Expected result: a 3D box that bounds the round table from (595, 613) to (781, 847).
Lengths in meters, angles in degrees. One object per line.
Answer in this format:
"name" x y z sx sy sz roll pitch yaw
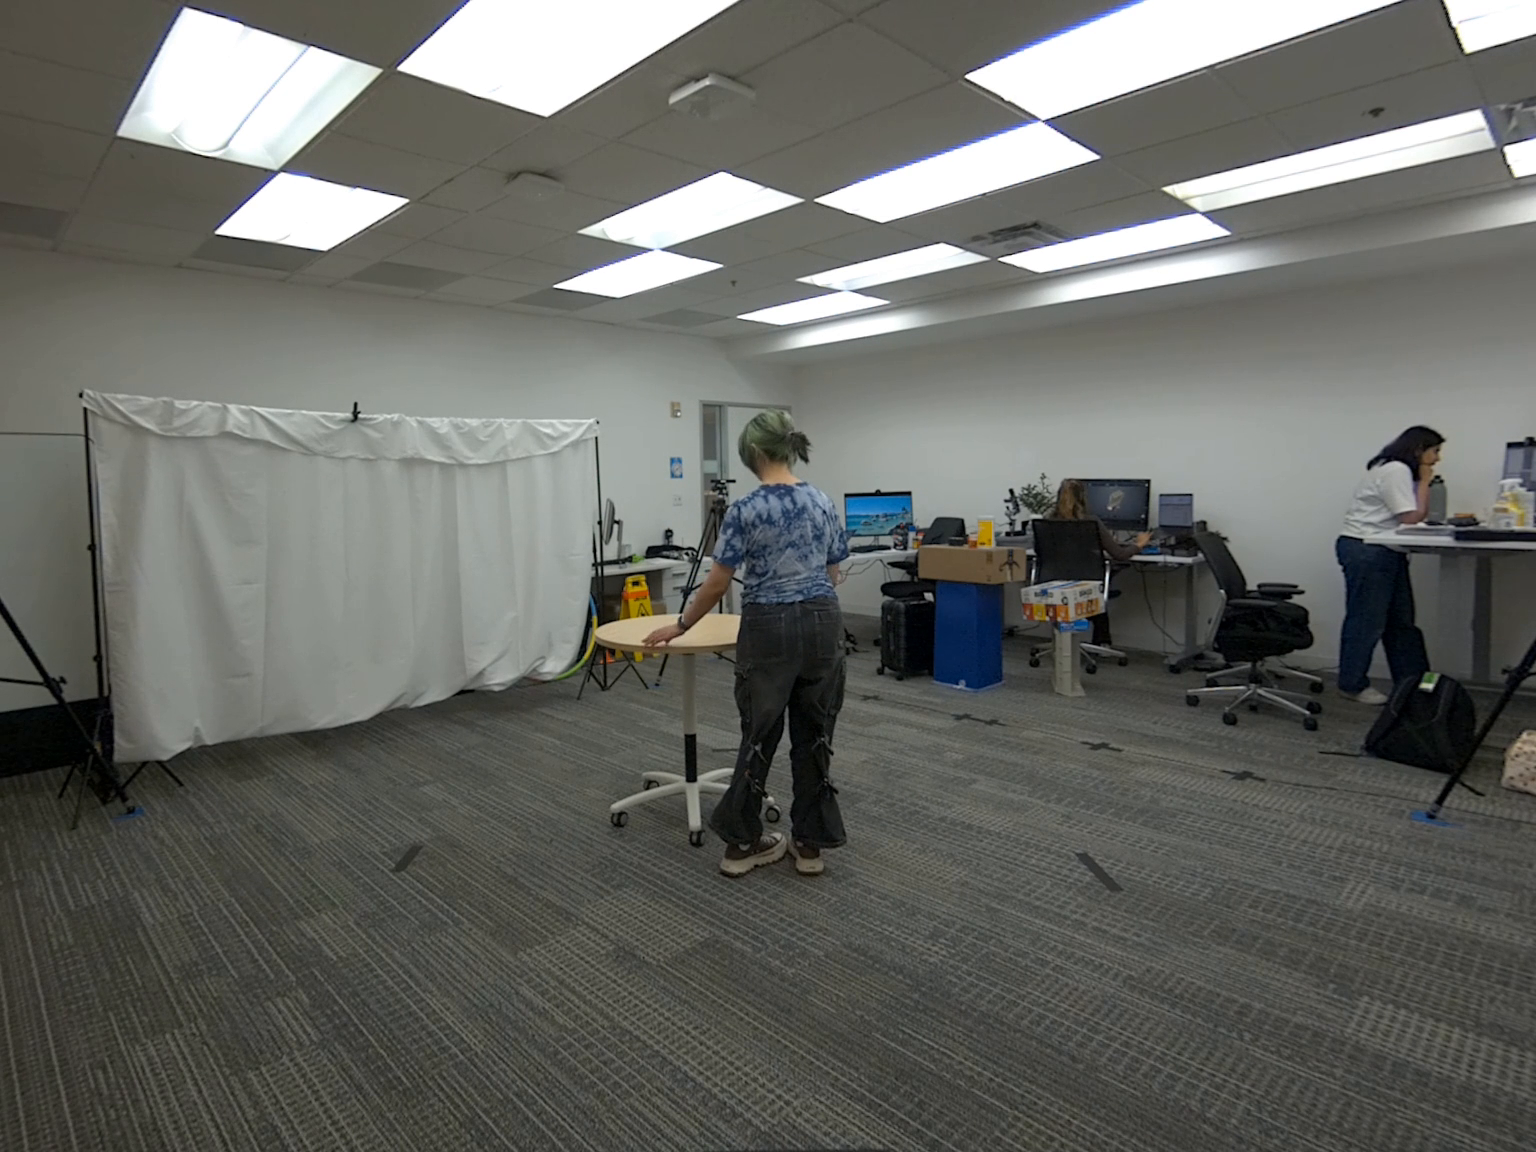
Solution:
"round table" -0.323 0.610 3.566 0.763 0.791 0.767 -2 4 -2
